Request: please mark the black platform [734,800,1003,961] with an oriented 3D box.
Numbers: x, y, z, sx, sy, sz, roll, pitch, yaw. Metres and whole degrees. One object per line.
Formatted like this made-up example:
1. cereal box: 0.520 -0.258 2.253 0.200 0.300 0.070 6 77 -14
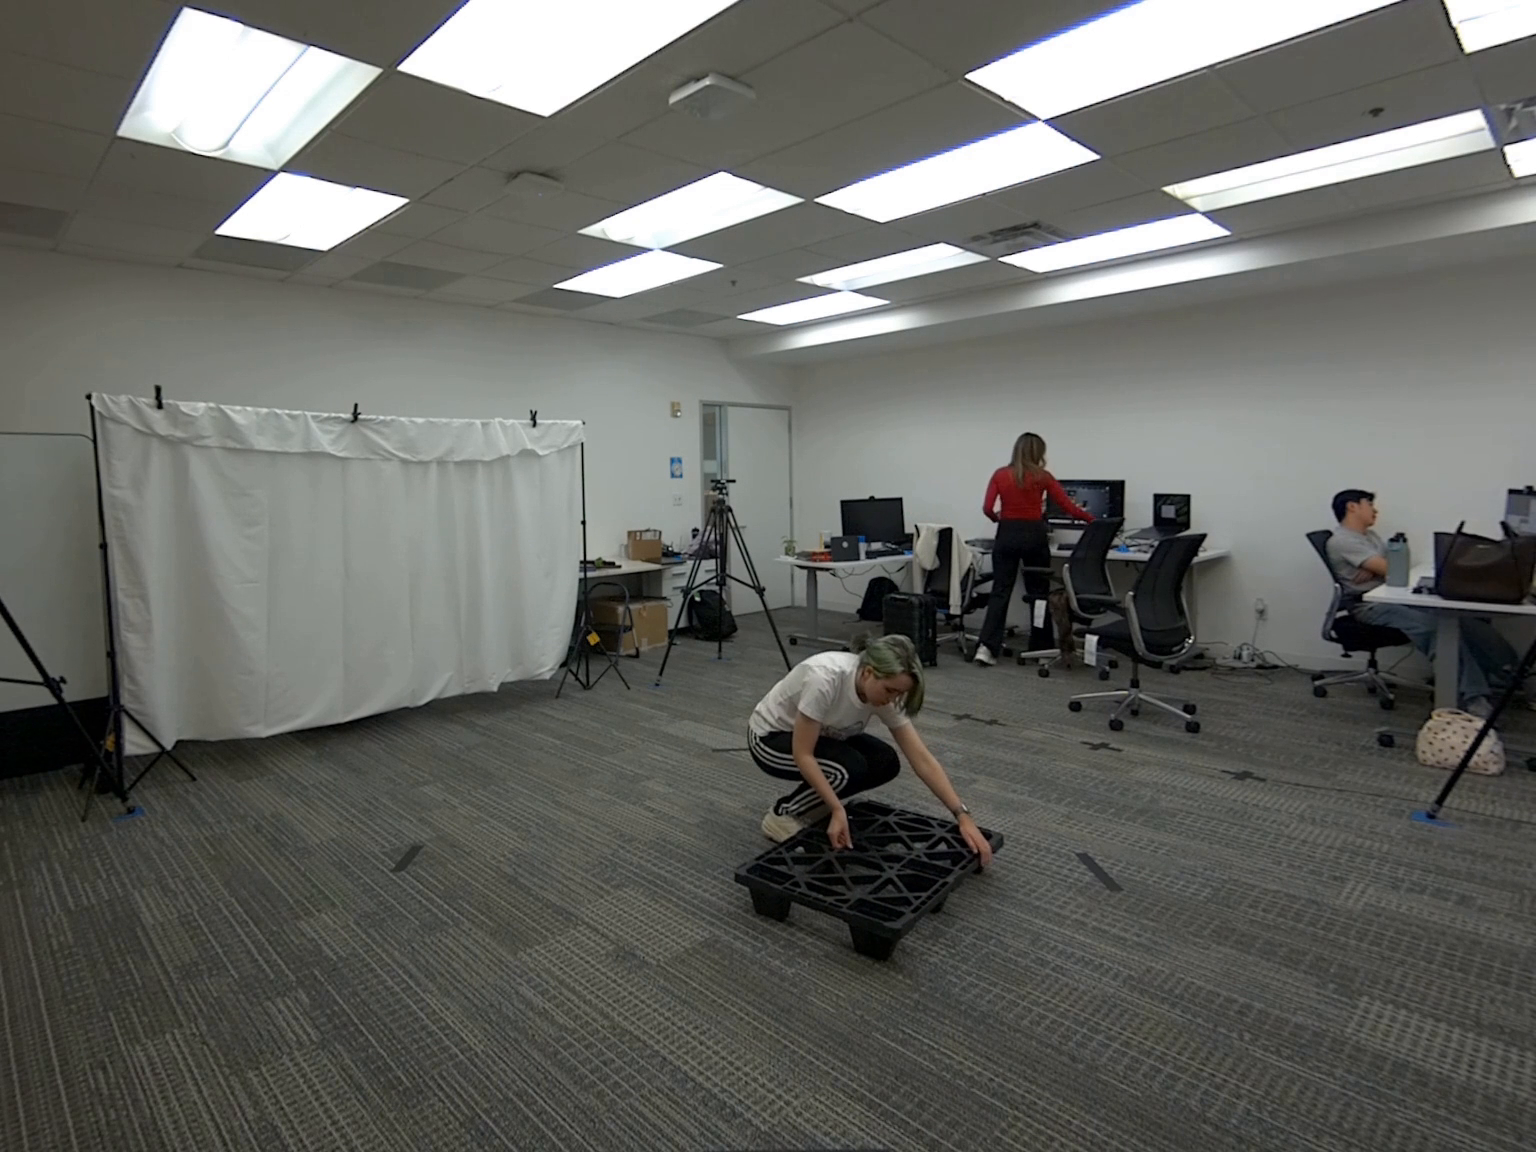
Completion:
1. black platform: 0.360 0.999 2.886 0.623 0.143 0.785 3 7 38
